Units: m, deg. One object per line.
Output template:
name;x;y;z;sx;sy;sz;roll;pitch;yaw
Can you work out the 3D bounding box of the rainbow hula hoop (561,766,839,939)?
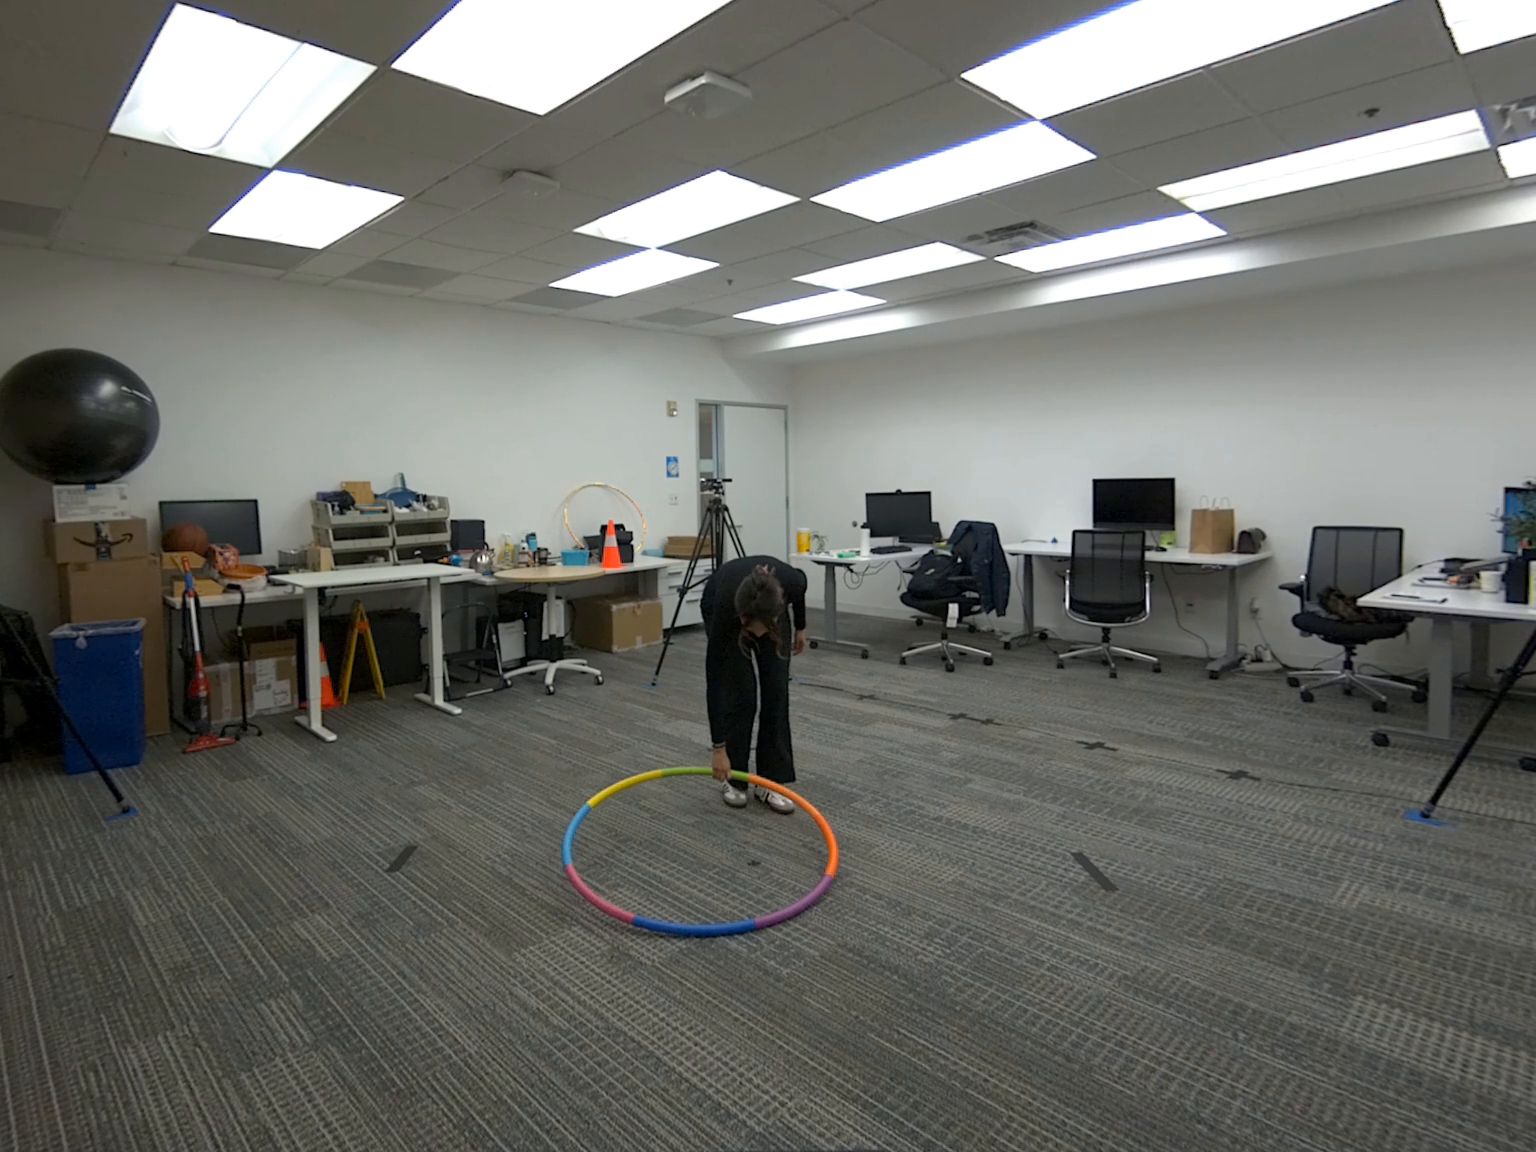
rainbow hula hoop;-0.238;0.947;3.079;0.977;0.035;0.993;1;16;-2
